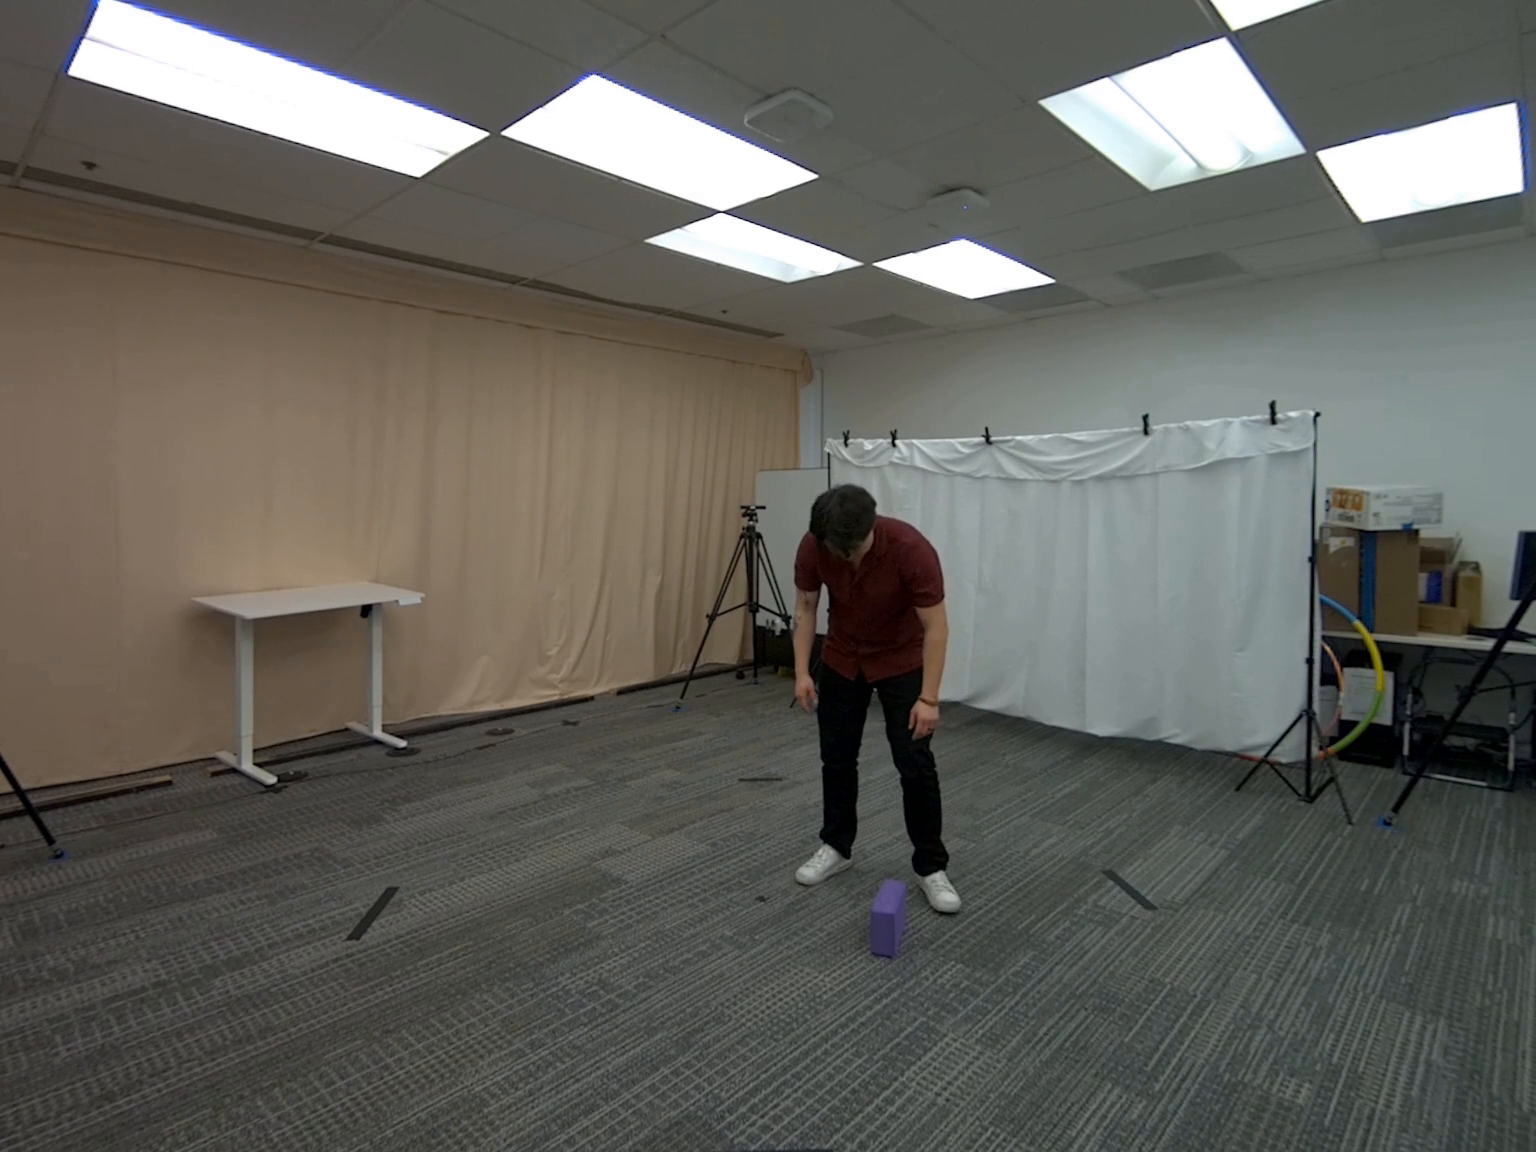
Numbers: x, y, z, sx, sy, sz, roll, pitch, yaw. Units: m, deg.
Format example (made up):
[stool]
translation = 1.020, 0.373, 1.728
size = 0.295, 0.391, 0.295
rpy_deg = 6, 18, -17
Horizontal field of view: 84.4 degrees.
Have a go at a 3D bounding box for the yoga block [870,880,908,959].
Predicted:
[yoga block]
translation = 0.388, 1.085, 2.694
size = 0.078, 0.148, 0.225
rpy_deg = 3, 6, 18
